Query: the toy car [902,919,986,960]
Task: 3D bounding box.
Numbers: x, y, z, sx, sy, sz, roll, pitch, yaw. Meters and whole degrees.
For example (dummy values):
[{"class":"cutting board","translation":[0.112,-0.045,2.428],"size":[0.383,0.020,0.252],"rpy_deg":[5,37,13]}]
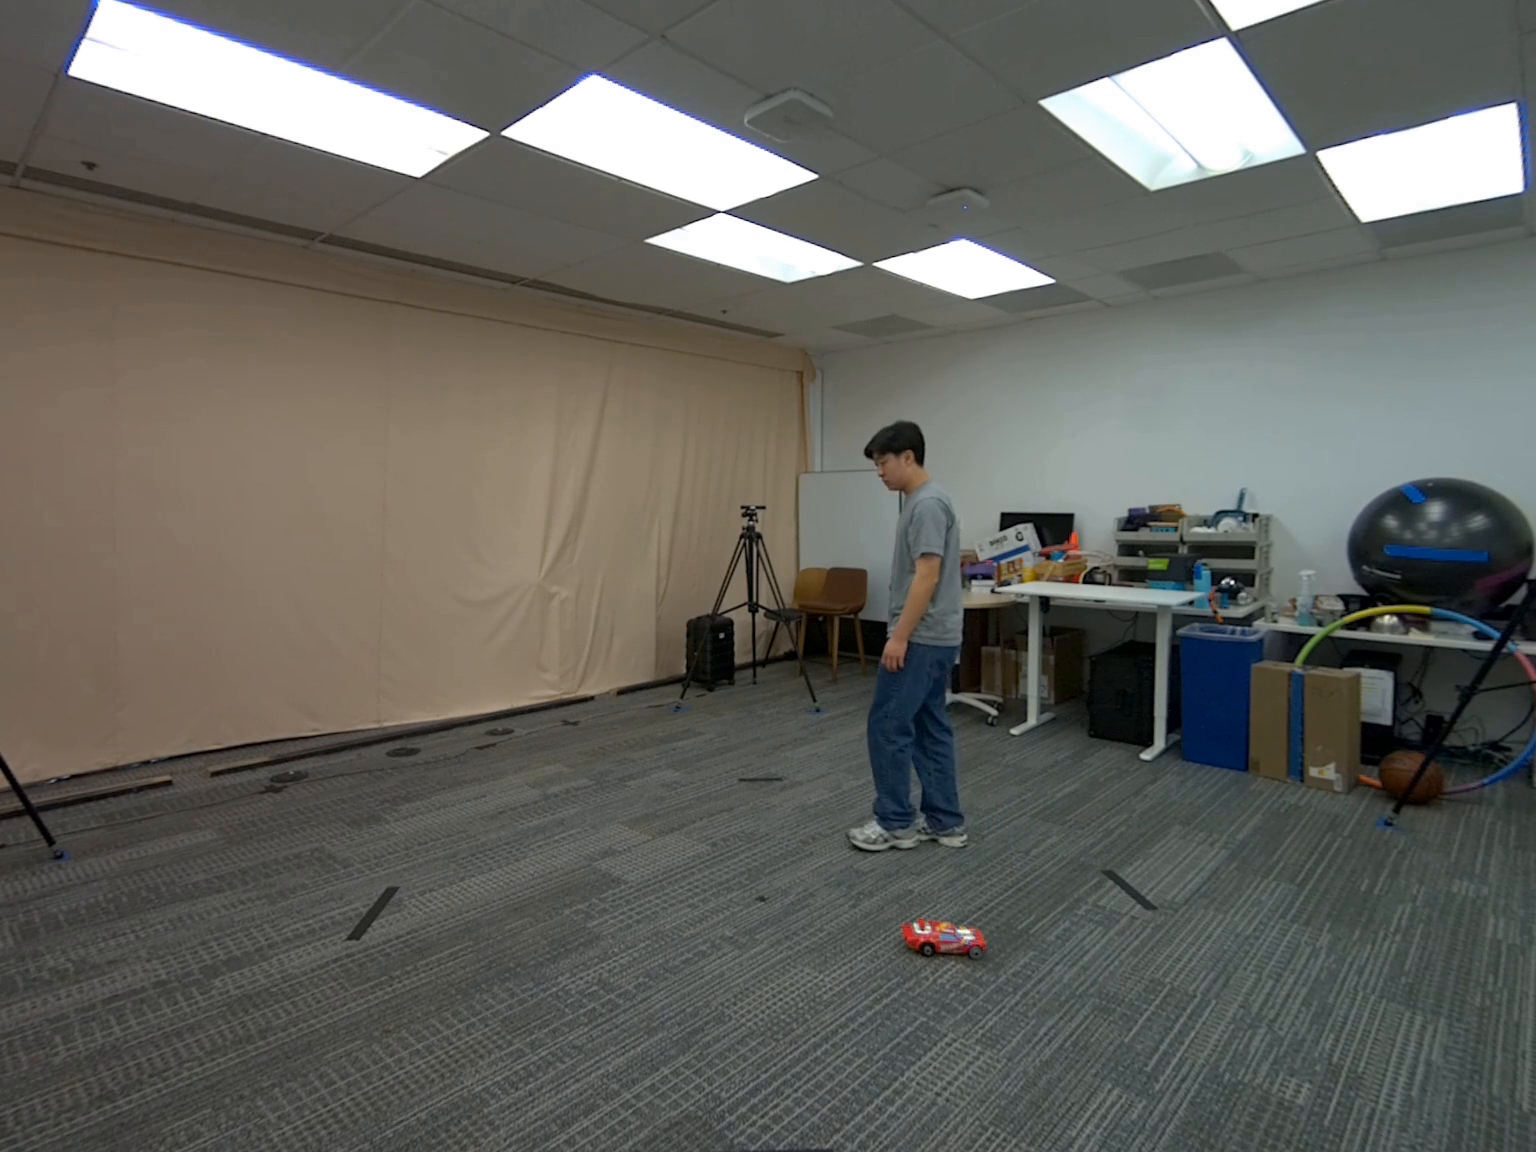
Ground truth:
[{"class":"toy car","translation":[0.551,1.141,2.636],"size":[0.256,0.083,0.130],"rpy_deg":[11,5,4]}]
